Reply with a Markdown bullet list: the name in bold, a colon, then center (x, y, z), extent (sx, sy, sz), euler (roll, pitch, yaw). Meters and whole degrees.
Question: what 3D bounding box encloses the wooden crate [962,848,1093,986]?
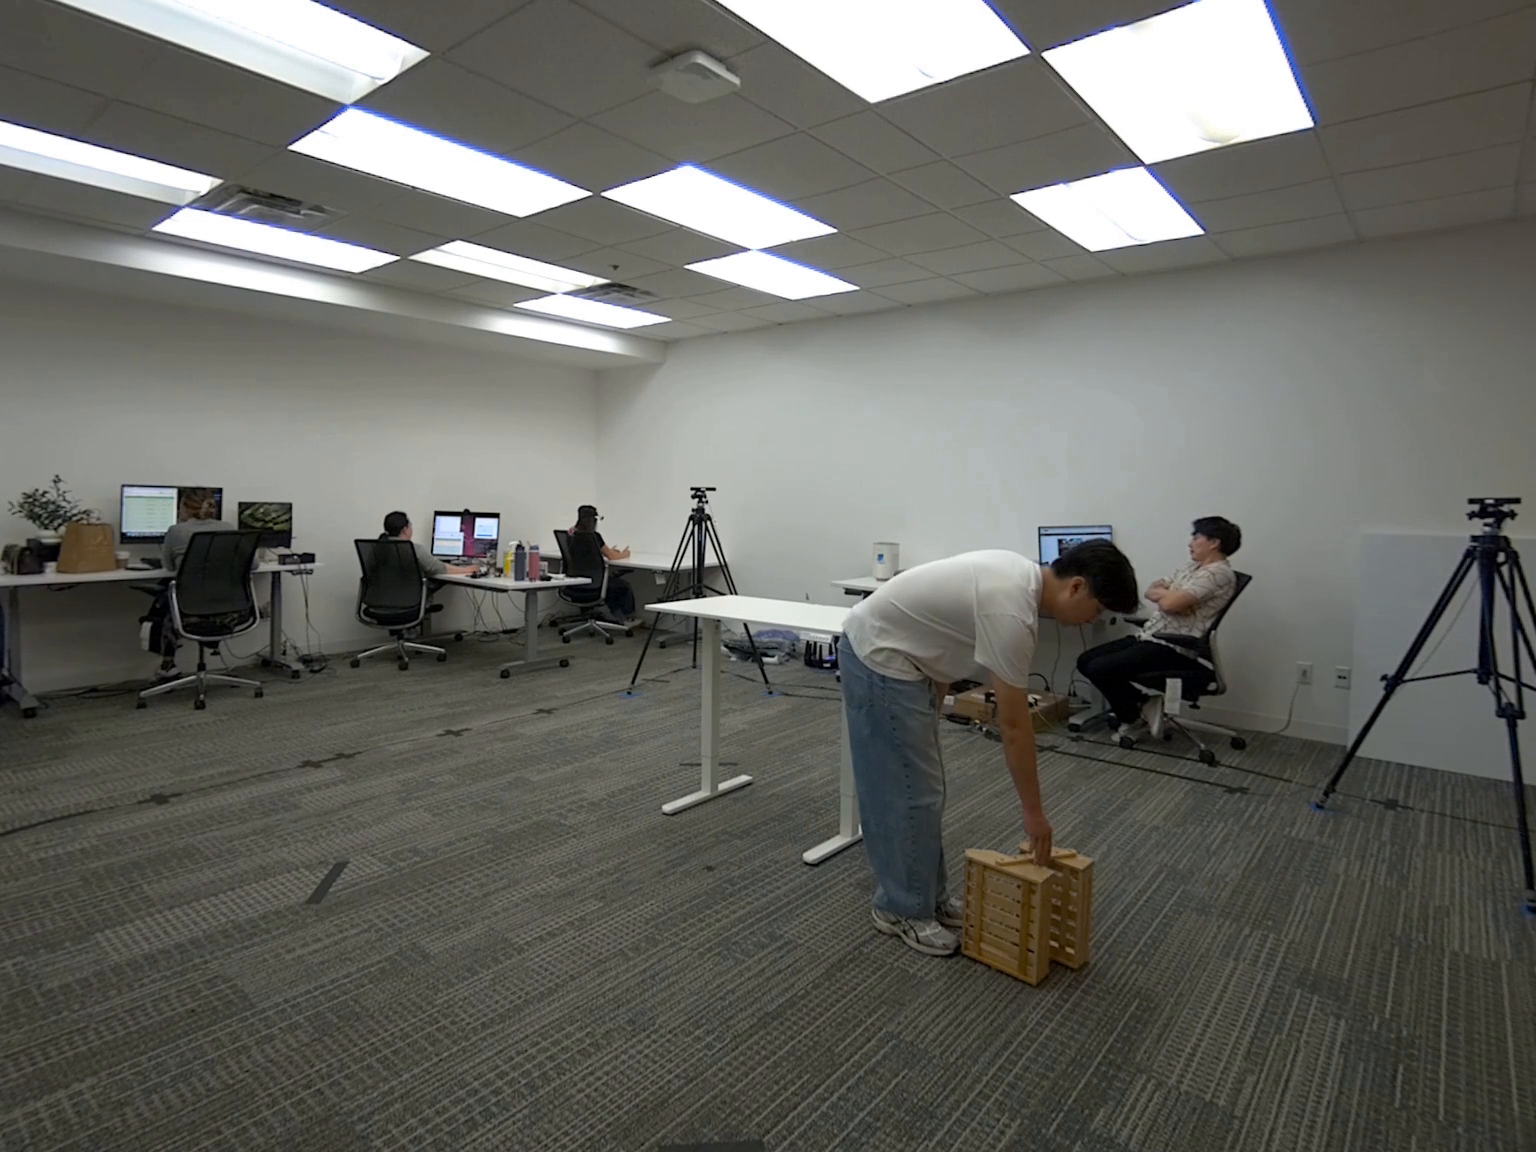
- **wooden crate**: center (0.774, 0.981, 2.549), extent (0.265, 0.323, 0.312), euler (-3, 7, -45)
